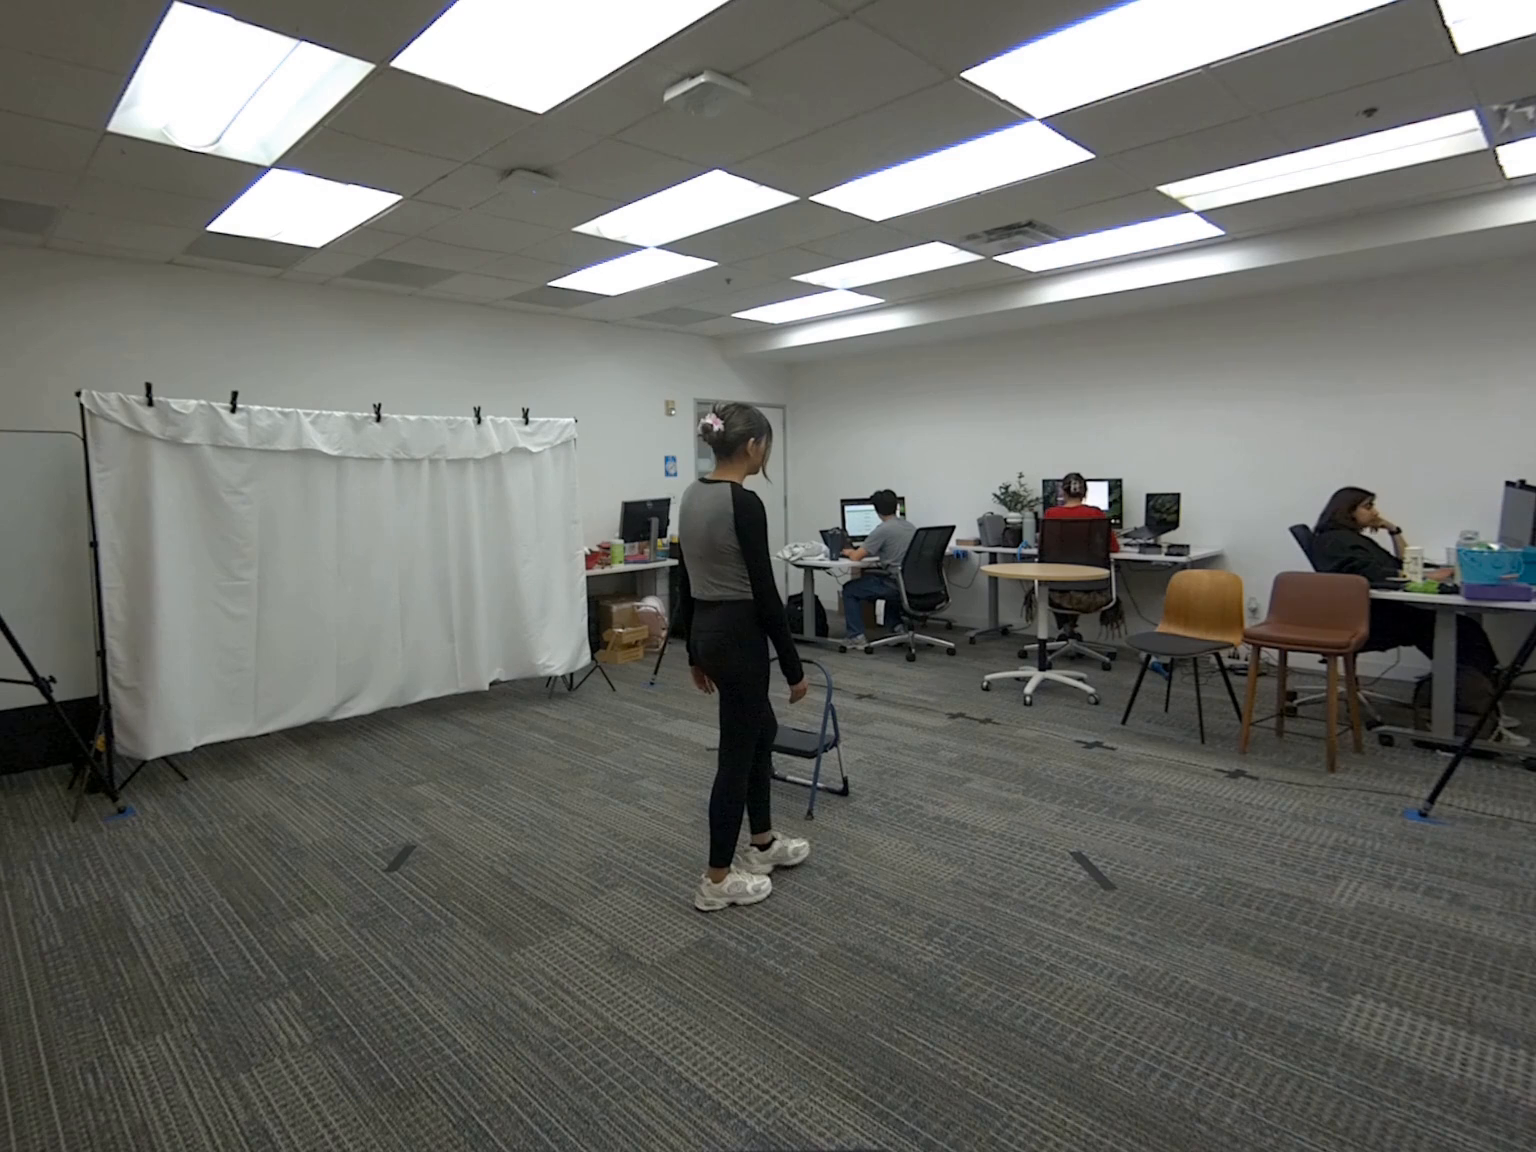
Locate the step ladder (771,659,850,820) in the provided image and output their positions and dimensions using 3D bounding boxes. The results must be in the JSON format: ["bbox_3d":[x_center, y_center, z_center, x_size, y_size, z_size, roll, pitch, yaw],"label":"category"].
[{"bbox_3d":[0.093,0.666,3.726,0.443,0.604,0.340,3,6,36],"label":"step ladder"}]
